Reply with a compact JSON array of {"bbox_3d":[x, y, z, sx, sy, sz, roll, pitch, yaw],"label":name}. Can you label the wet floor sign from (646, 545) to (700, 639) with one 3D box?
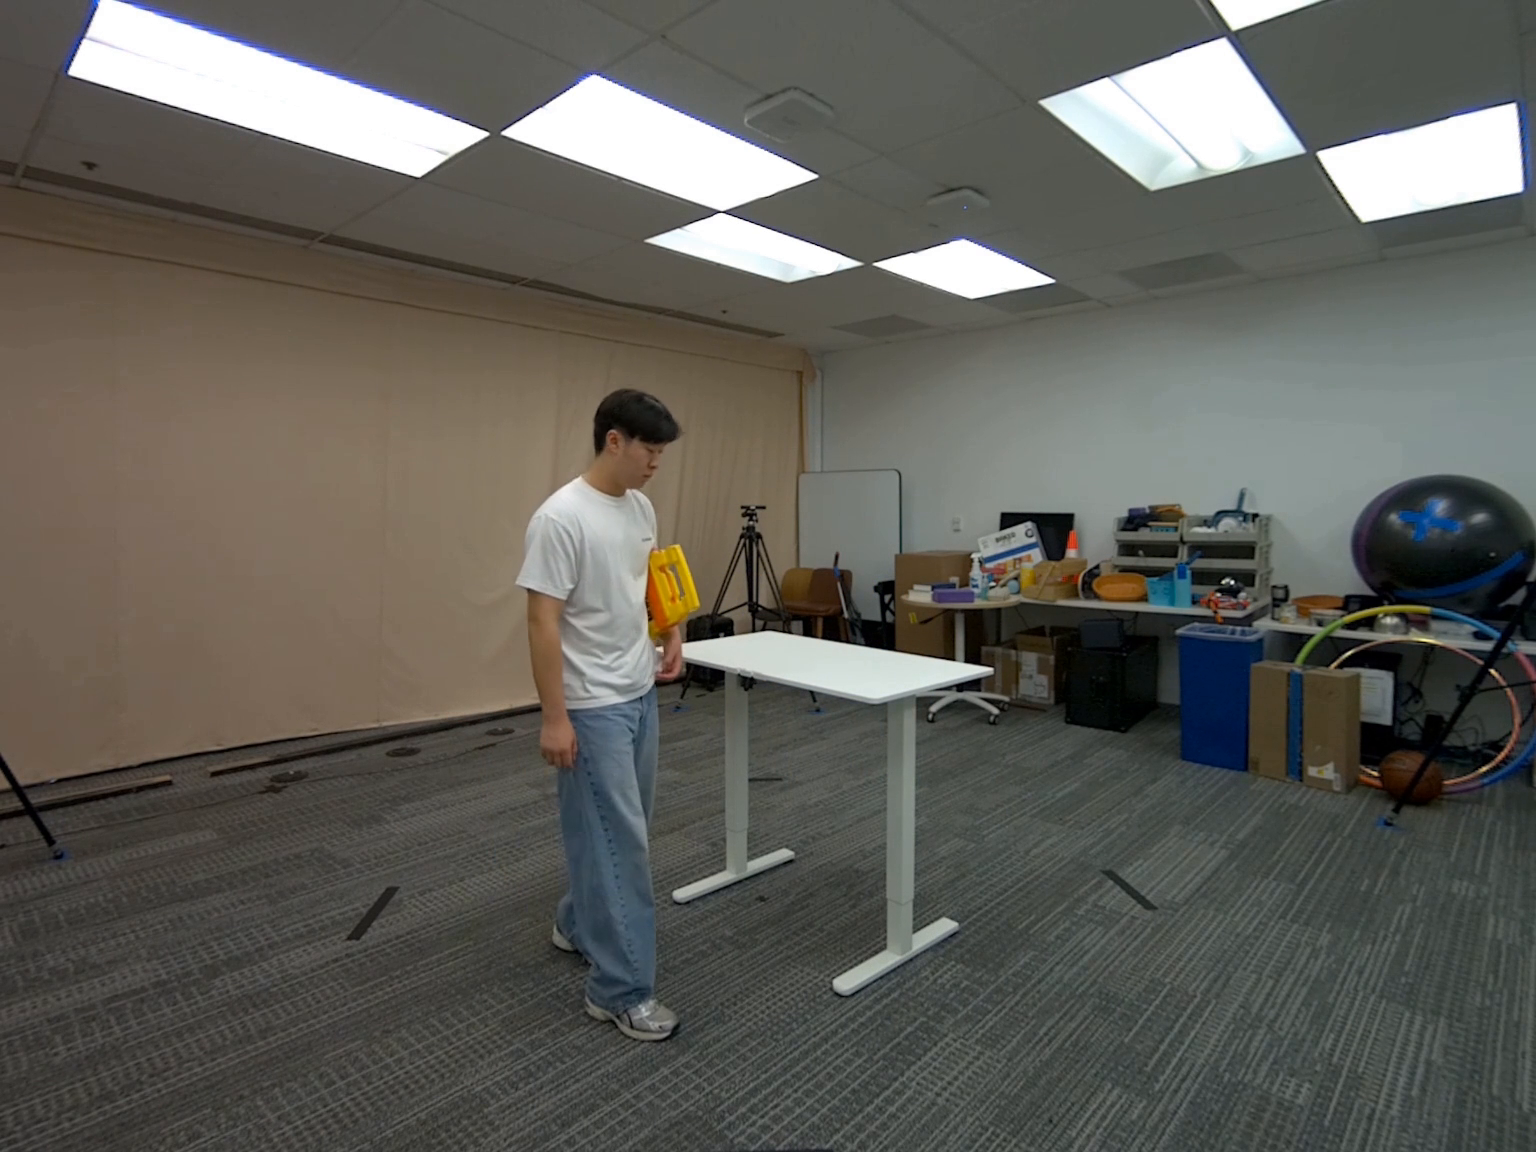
[{"bbox_3d":[-0.459,0.099,2.641,0.659,0.285,0.281,-24,-11,38],"label":"wet floor sign"}]
